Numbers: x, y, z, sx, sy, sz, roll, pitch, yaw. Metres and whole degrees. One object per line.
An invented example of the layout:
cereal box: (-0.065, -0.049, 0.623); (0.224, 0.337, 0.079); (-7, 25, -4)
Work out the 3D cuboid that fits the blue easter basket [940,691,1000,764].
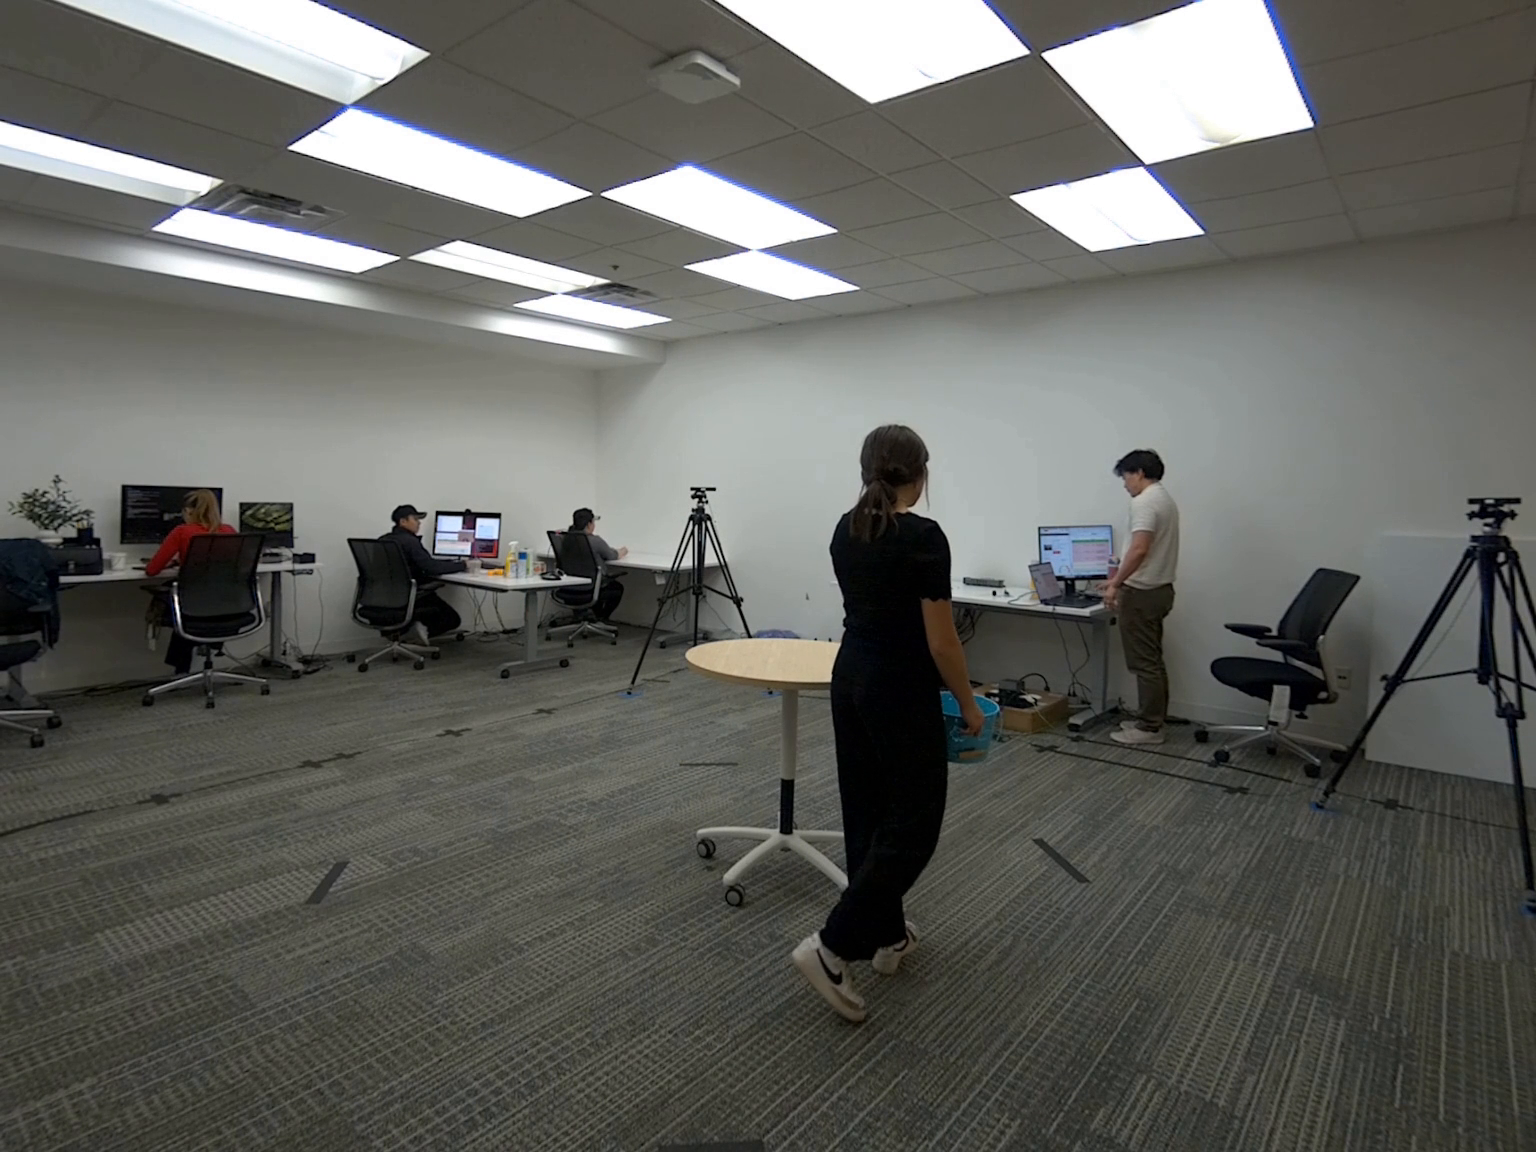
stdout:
blue easter basket: (0.554, 0.461, 2.561); (0.243, 0.155, 0.245); (1, 7, -2)
